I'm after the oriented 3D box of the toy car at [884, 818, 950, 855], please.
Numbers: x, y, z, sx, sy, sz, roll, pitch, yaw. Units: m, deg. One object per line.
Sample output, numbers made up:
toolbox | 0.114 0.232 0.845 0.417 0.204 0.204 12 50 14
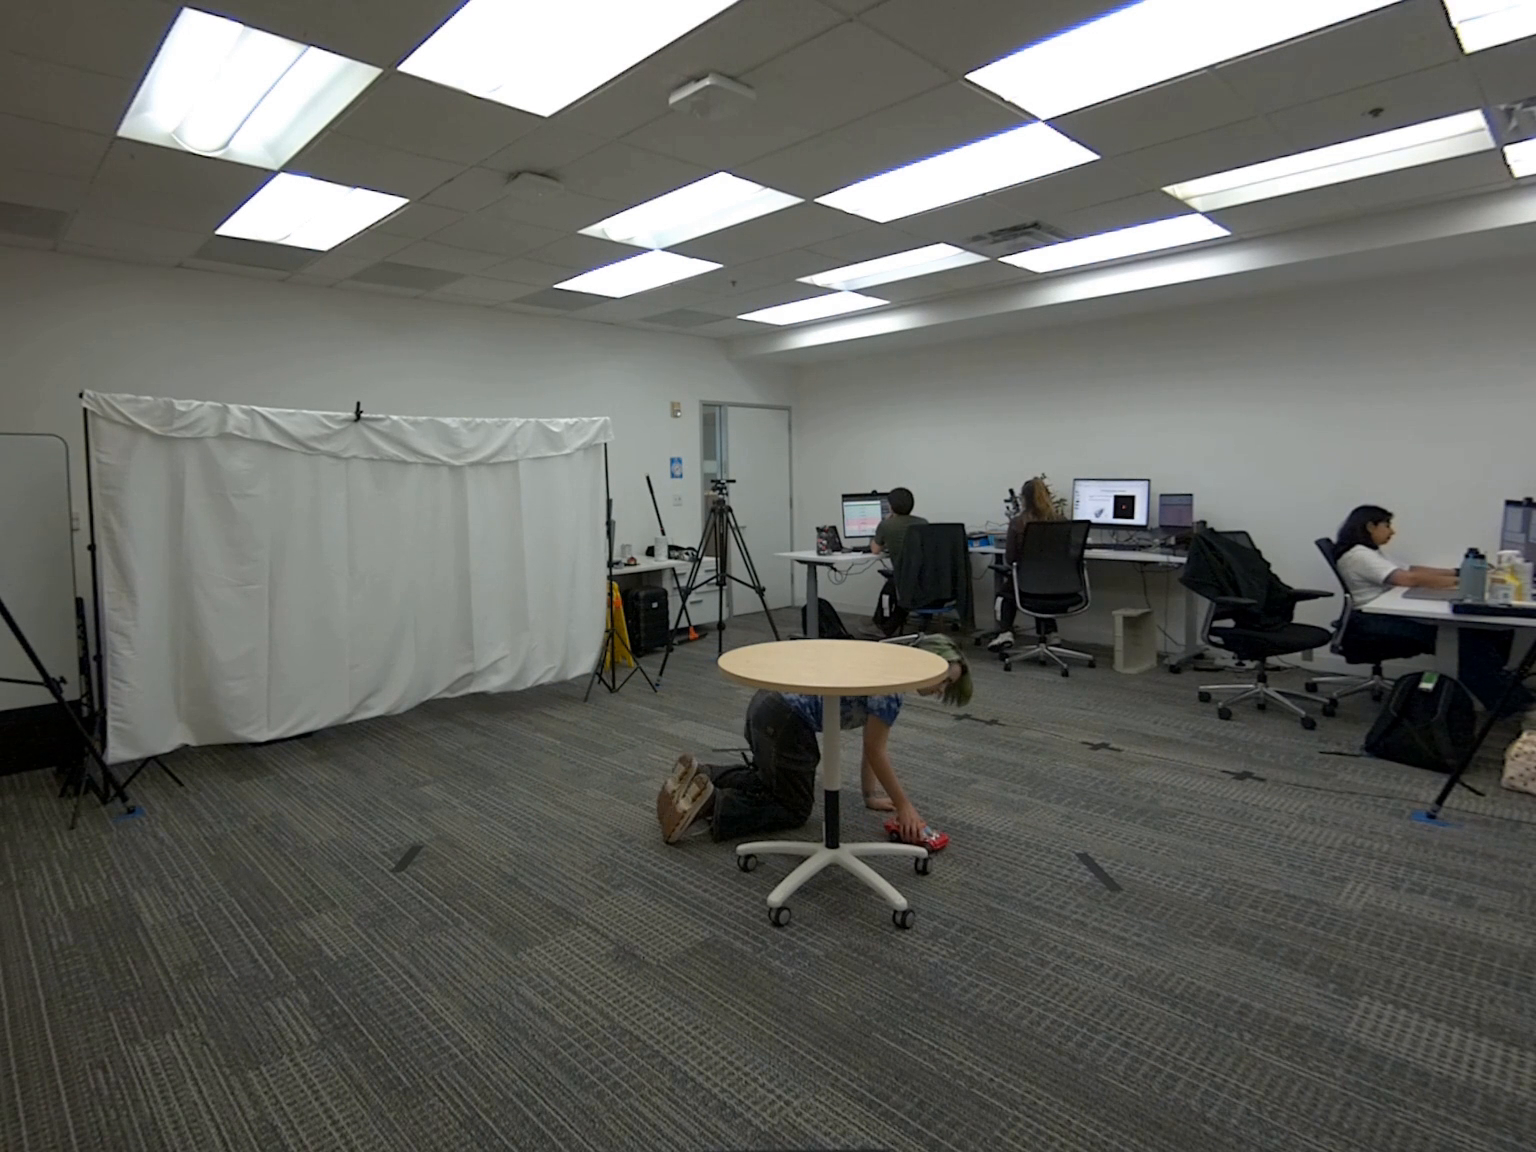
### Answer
toy car | 0.569 0.995 3.262 0.127 0.082 0.264 -5 16 -42
